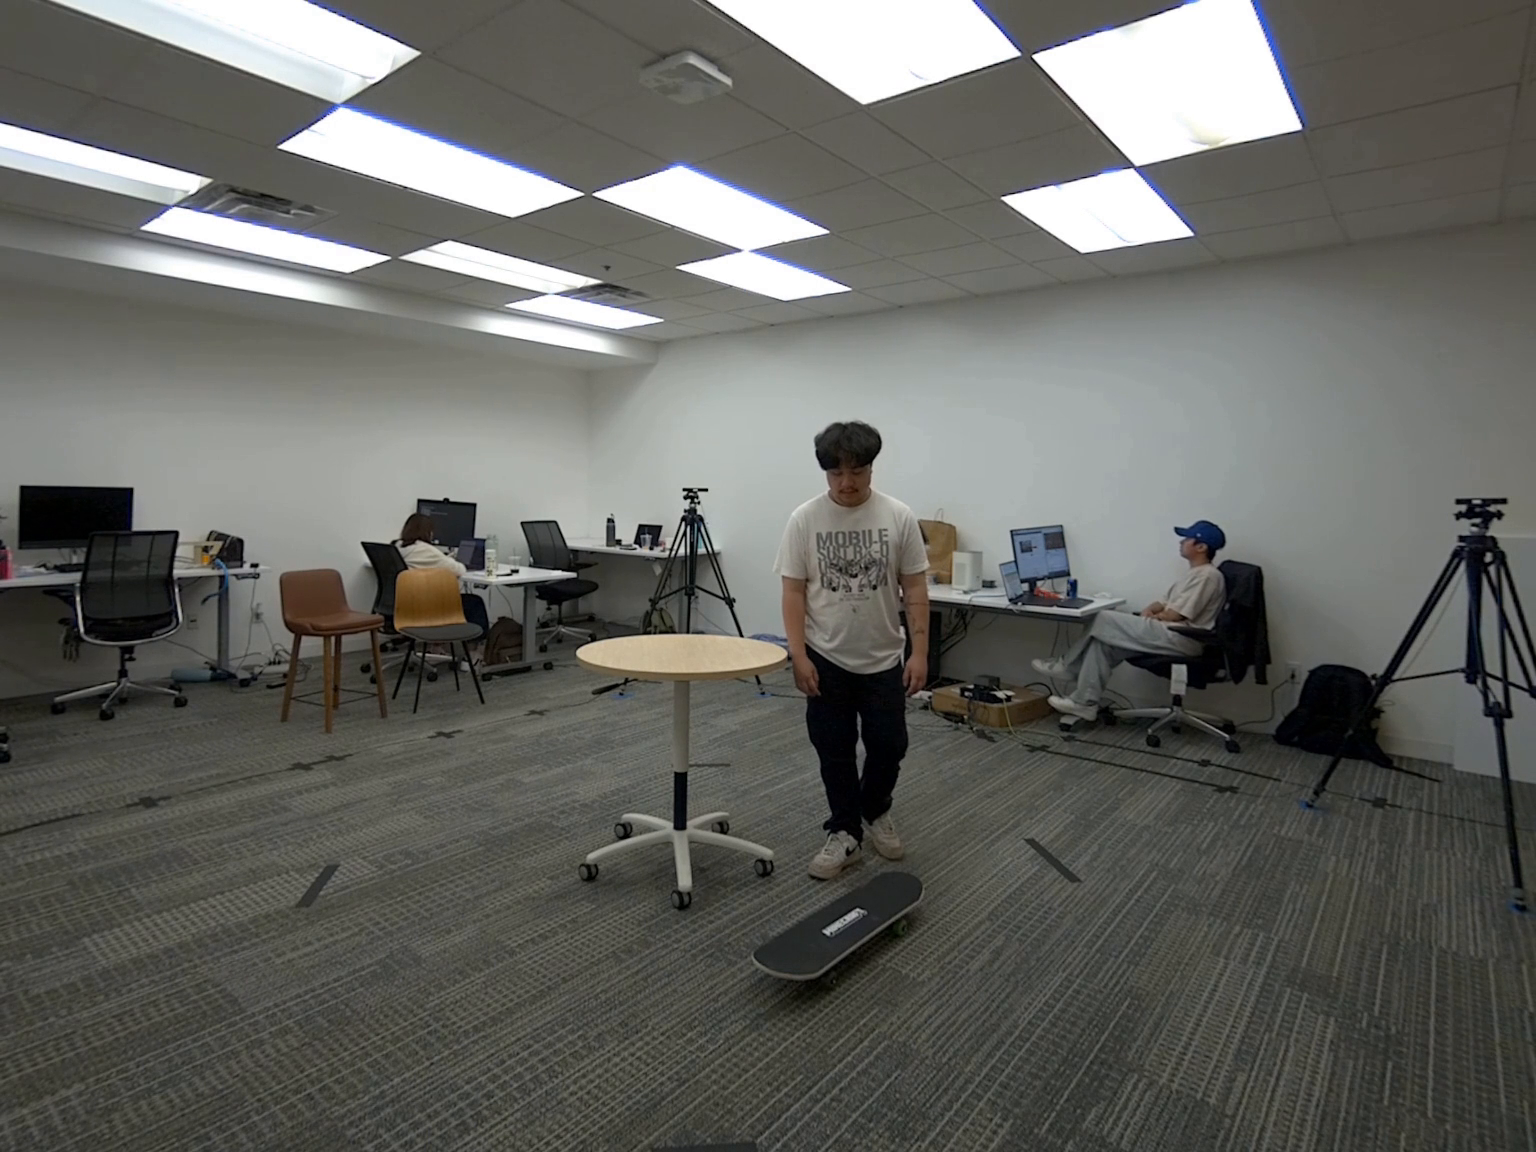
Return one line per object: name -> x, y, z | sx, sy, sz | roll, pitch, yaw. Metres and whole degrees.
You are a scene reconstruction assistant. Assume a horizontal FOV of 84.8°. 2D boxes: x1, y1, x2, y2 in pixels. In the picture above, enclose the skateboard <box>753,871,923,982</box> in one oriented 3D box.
skateboard -> 0.238, 1.080, 2.578 | 0.200, 0.110, 0.762 | 5, 7, 39
